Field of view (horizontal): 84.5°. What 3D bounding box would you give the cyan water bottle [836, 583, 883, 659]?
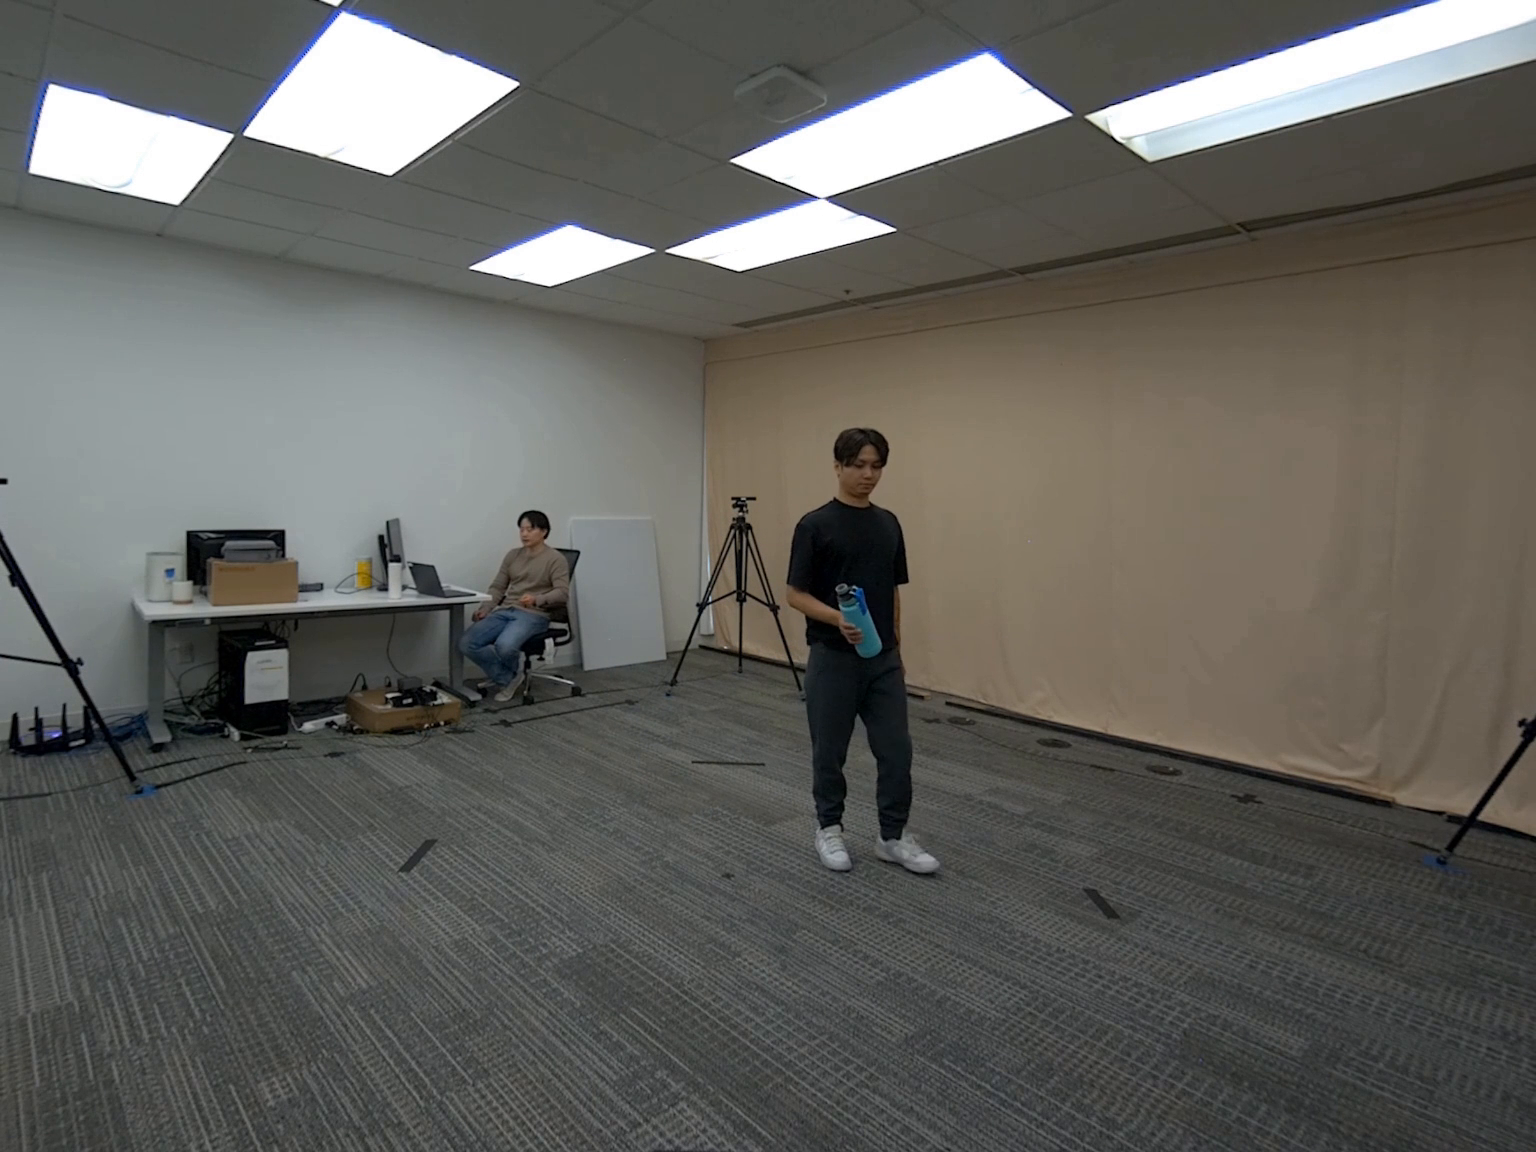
[{"bbox_3d":[0.302,0.154,2.910,0.093,0.276,0.094,-17,30,9],"label":"cyan water bottle"}]
